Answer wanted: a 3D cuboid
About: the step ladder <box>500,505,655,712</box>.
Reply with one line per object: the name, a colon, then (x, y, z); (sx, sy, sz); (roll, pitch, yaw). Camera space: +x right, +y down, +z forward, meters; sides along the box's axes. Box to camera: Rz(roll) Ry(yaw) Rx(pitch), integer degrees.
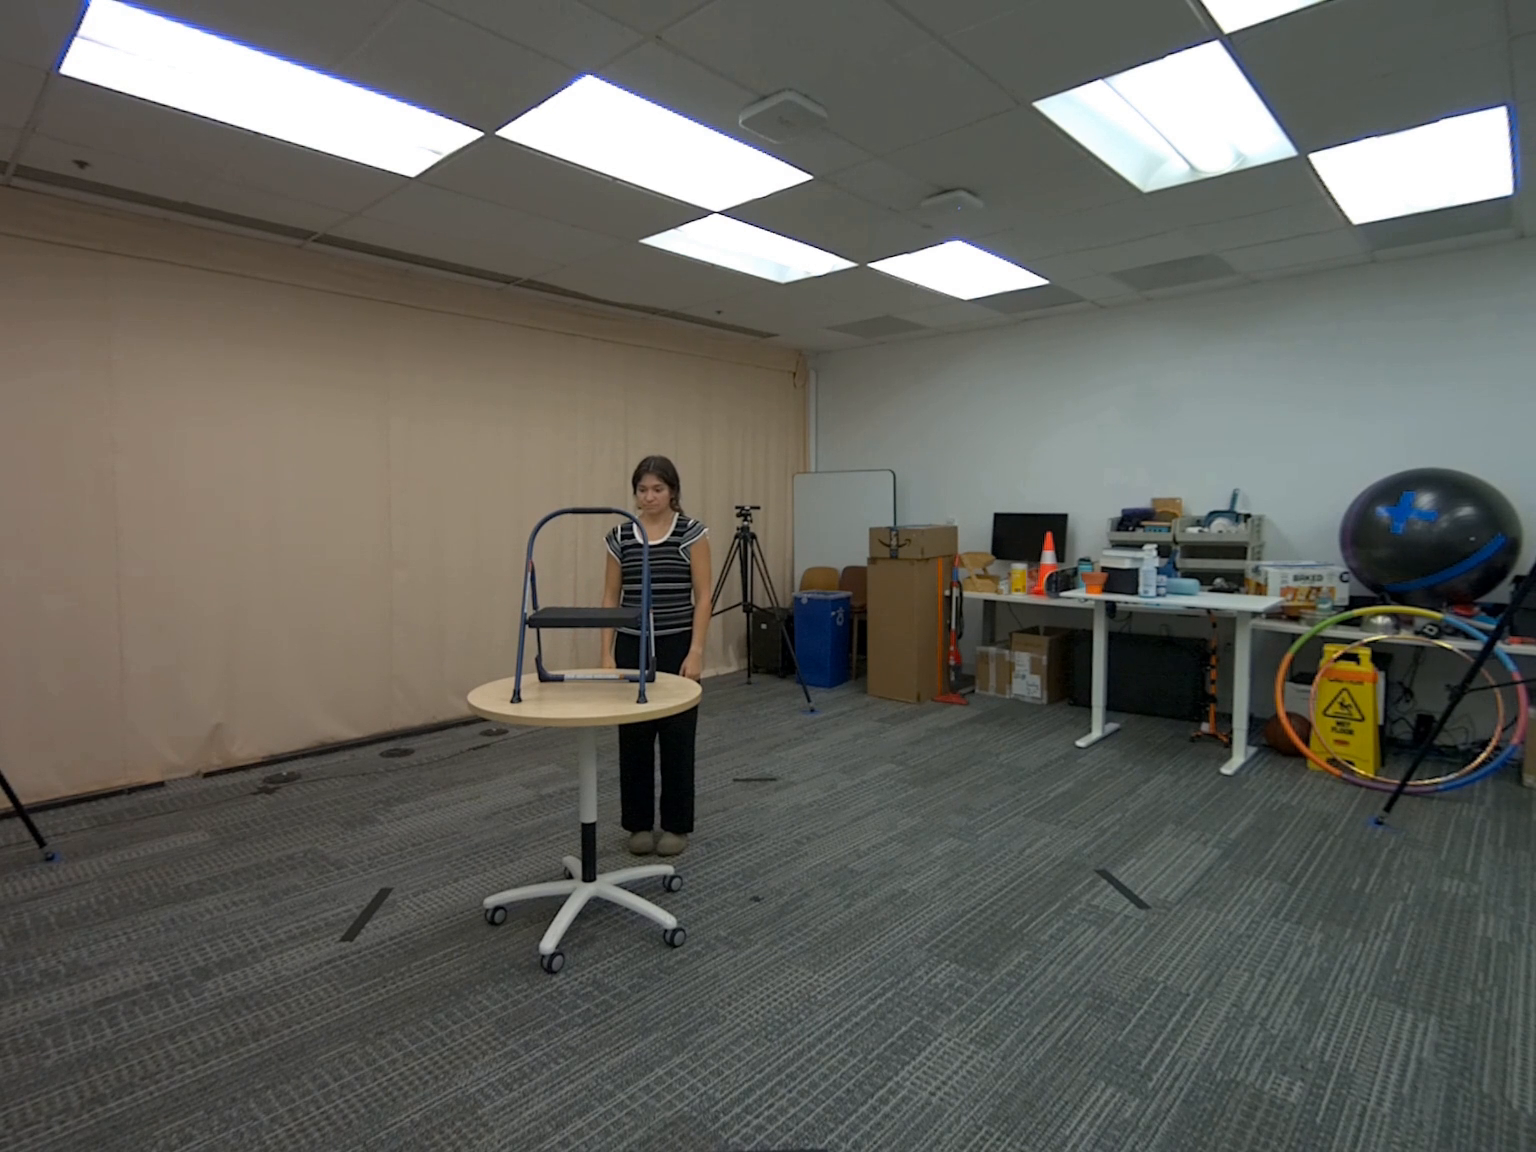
step ladder: (-0.593, 0.088, 2.765); (0.431, 0.605, 0.349); (4, 2, 1)
